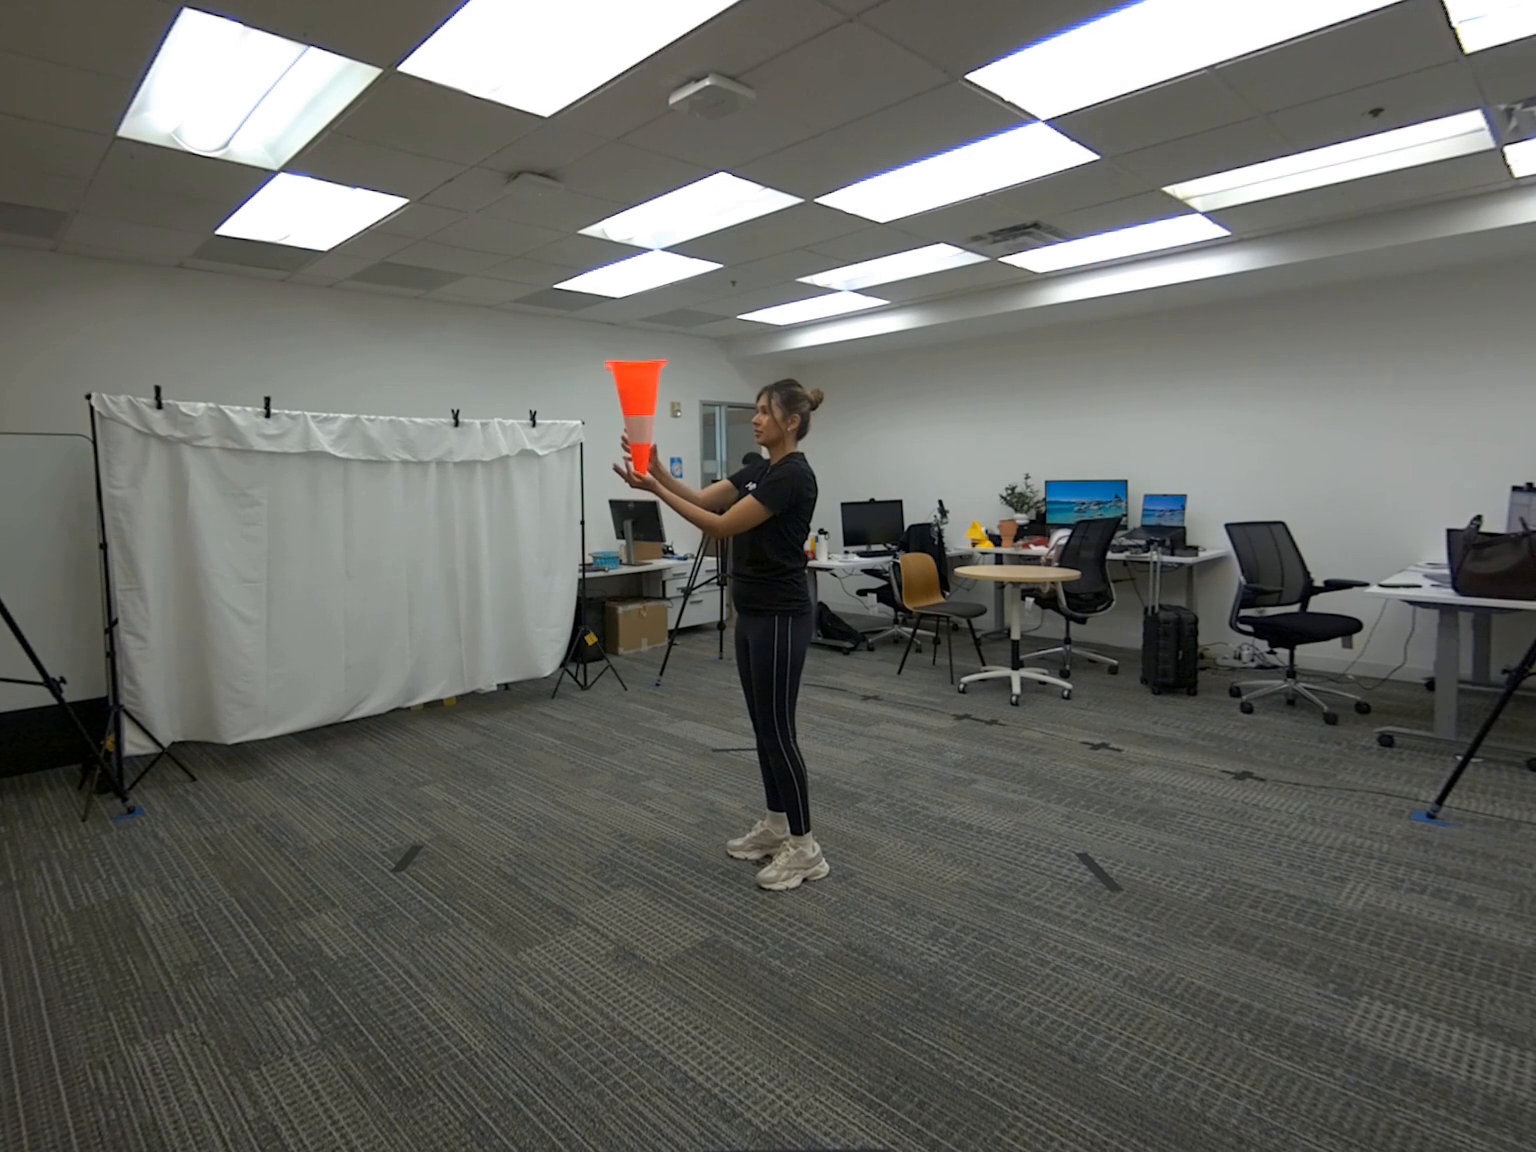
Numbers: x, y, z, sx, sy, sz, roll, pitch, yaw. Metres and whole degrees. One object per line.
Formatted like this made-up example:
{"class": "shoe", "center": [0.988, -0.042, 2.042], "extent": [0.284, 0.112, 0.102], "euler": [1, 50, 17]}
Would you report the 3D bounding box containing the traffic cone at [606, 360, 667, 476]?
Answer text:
{"class": "traffic cone", "center": [-0.427, -0.497, 2.789], "extent": [0.203, 0.382, 0.206], "euler": [-2, 6, -10]}
